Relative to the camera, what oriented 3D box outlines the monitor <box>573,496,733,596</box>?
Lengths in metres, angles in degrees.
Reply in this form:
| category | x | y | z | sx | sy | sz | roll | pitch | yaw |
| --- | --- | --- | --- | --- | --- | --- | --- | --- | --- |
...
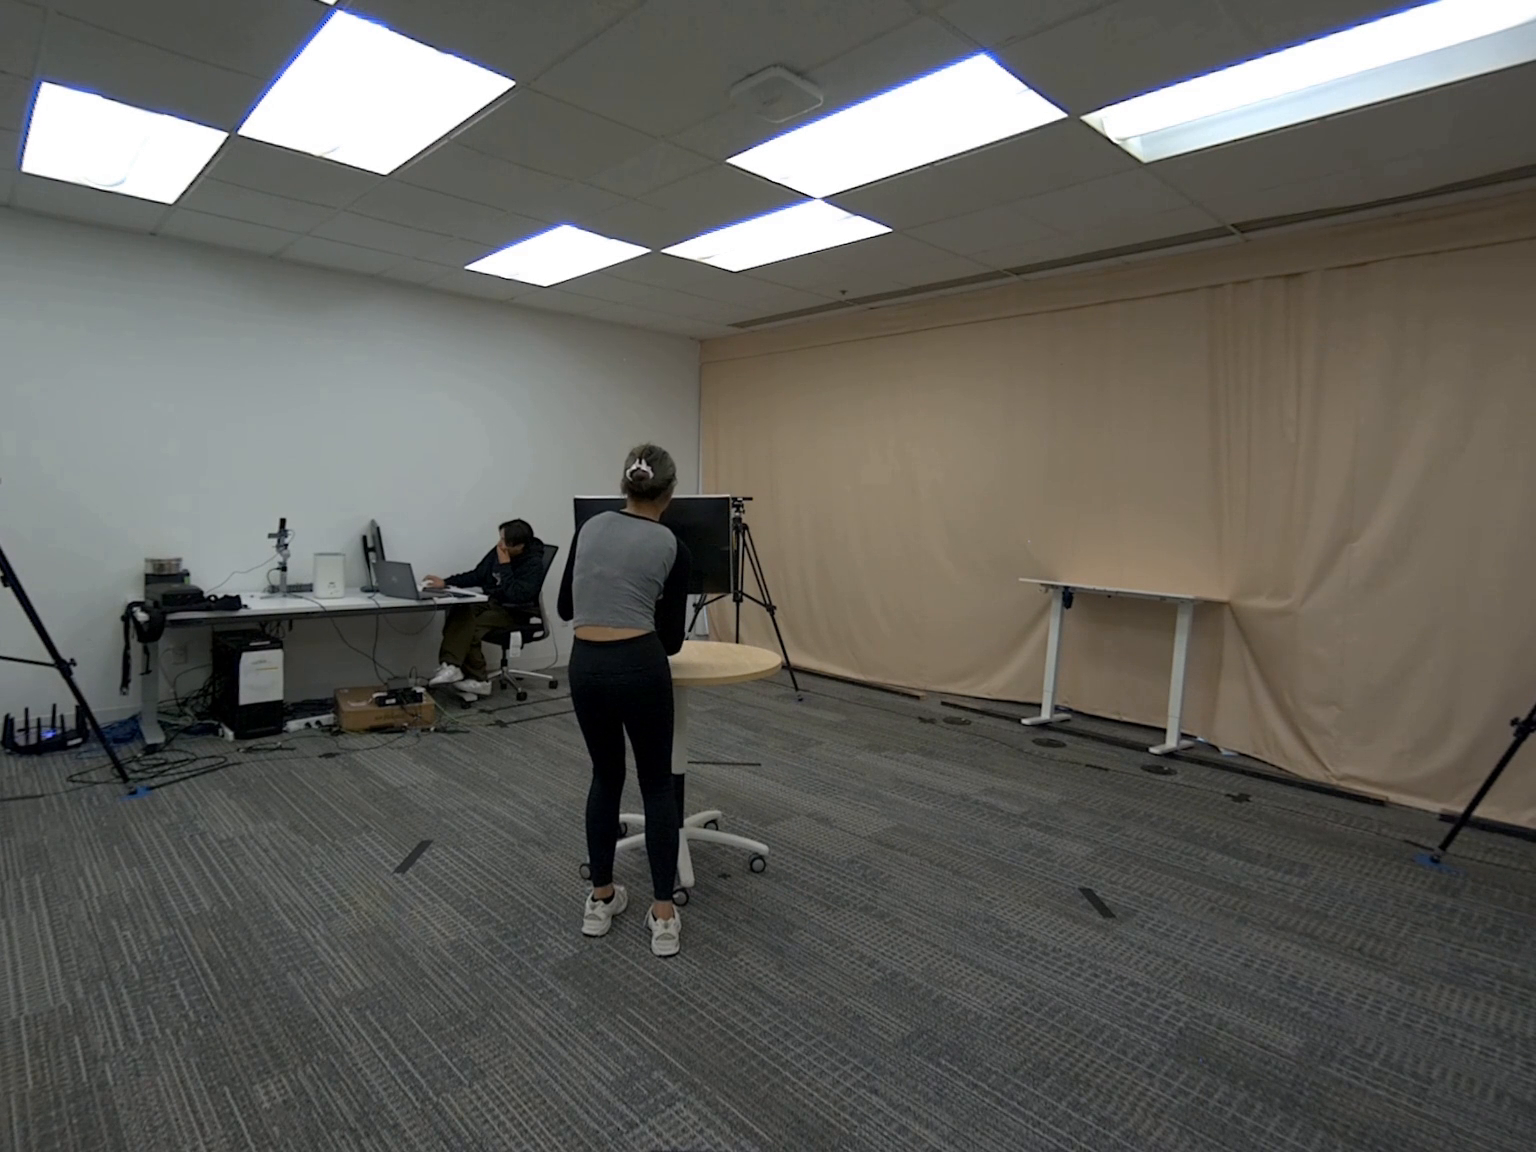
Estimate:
| category | x | y | z | sx | sy | sz | roll | pitch | yaw |
| --- | --- | --- | --- | --- | --- | --- | --- | --- | --- |
| monitor | -0.400 | -0.022 | 2.965 | 0.539 | 0.522 | 0.187 | -1 | 2 | -1 |
